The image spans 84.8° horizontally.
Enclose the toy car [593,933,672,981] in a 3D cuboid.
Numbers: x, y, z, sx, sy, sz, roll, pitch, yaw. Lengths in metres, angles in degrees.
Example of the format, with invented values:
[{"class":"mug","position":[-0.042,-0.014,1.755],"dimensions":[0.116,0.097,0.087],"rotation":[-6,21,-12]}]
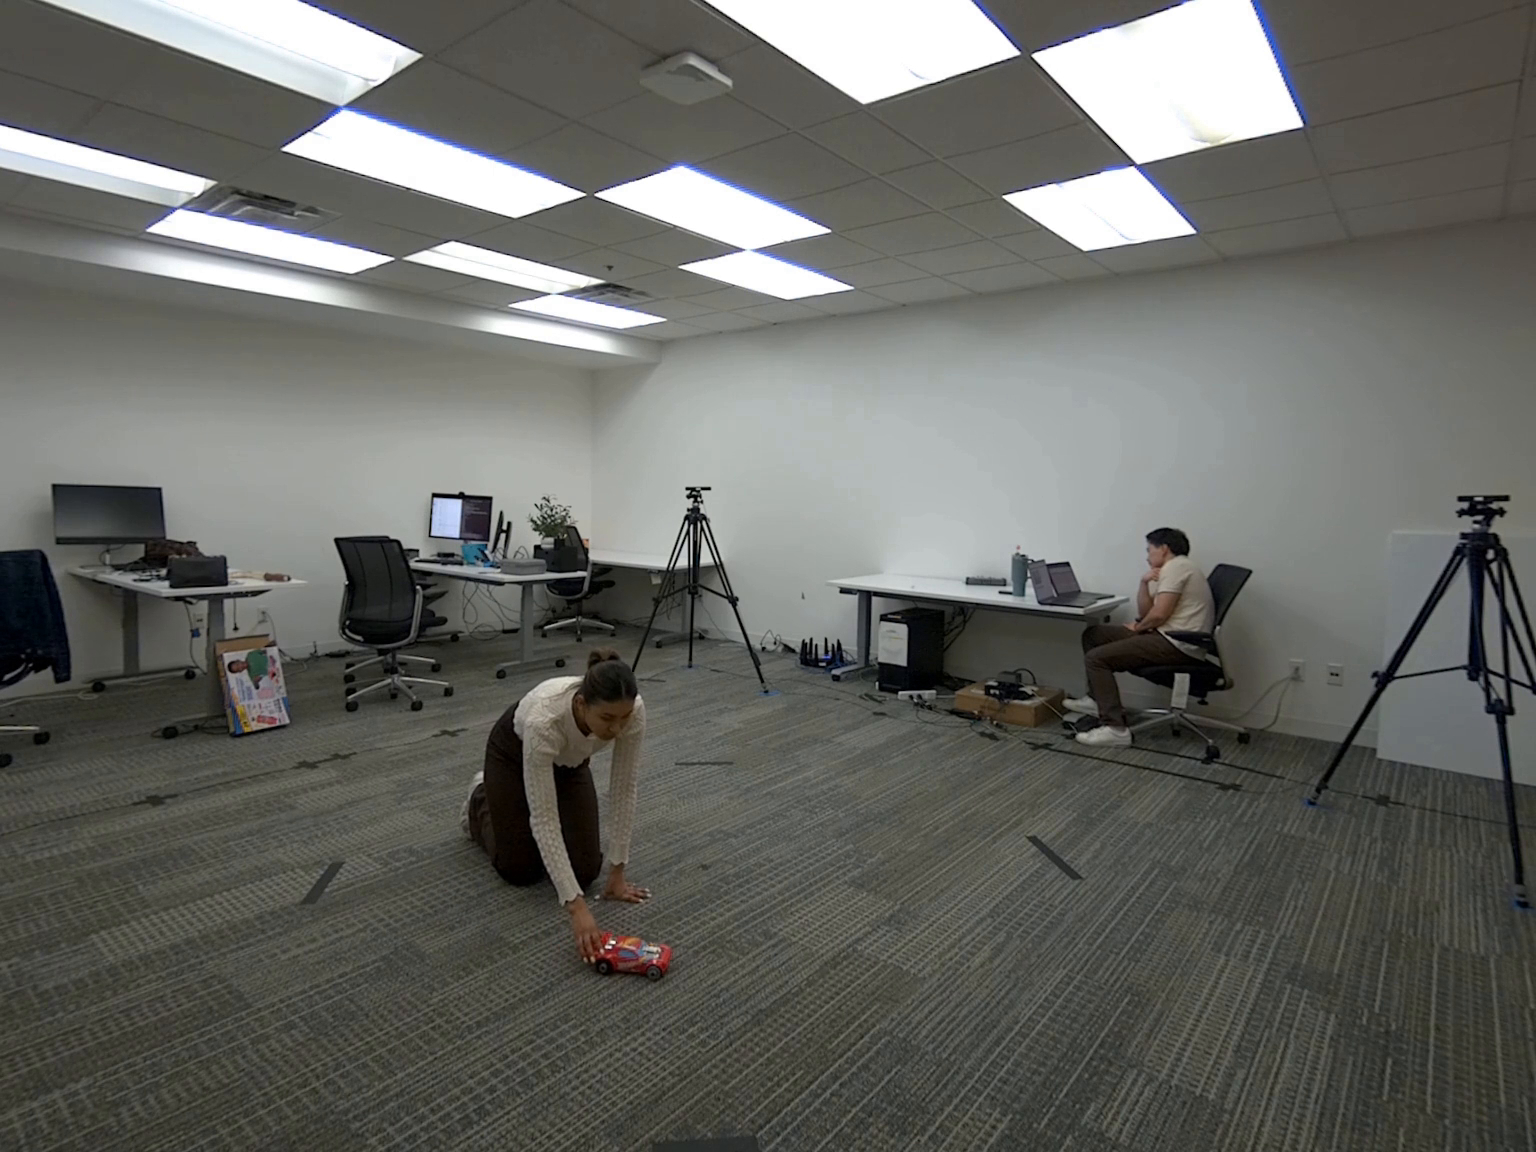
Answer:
[{"class":"toy car","position":[-0.419,1.096,2.454],"dimensions":[0.257,0.083,0.130],"rotation":[11,7,6]}]
